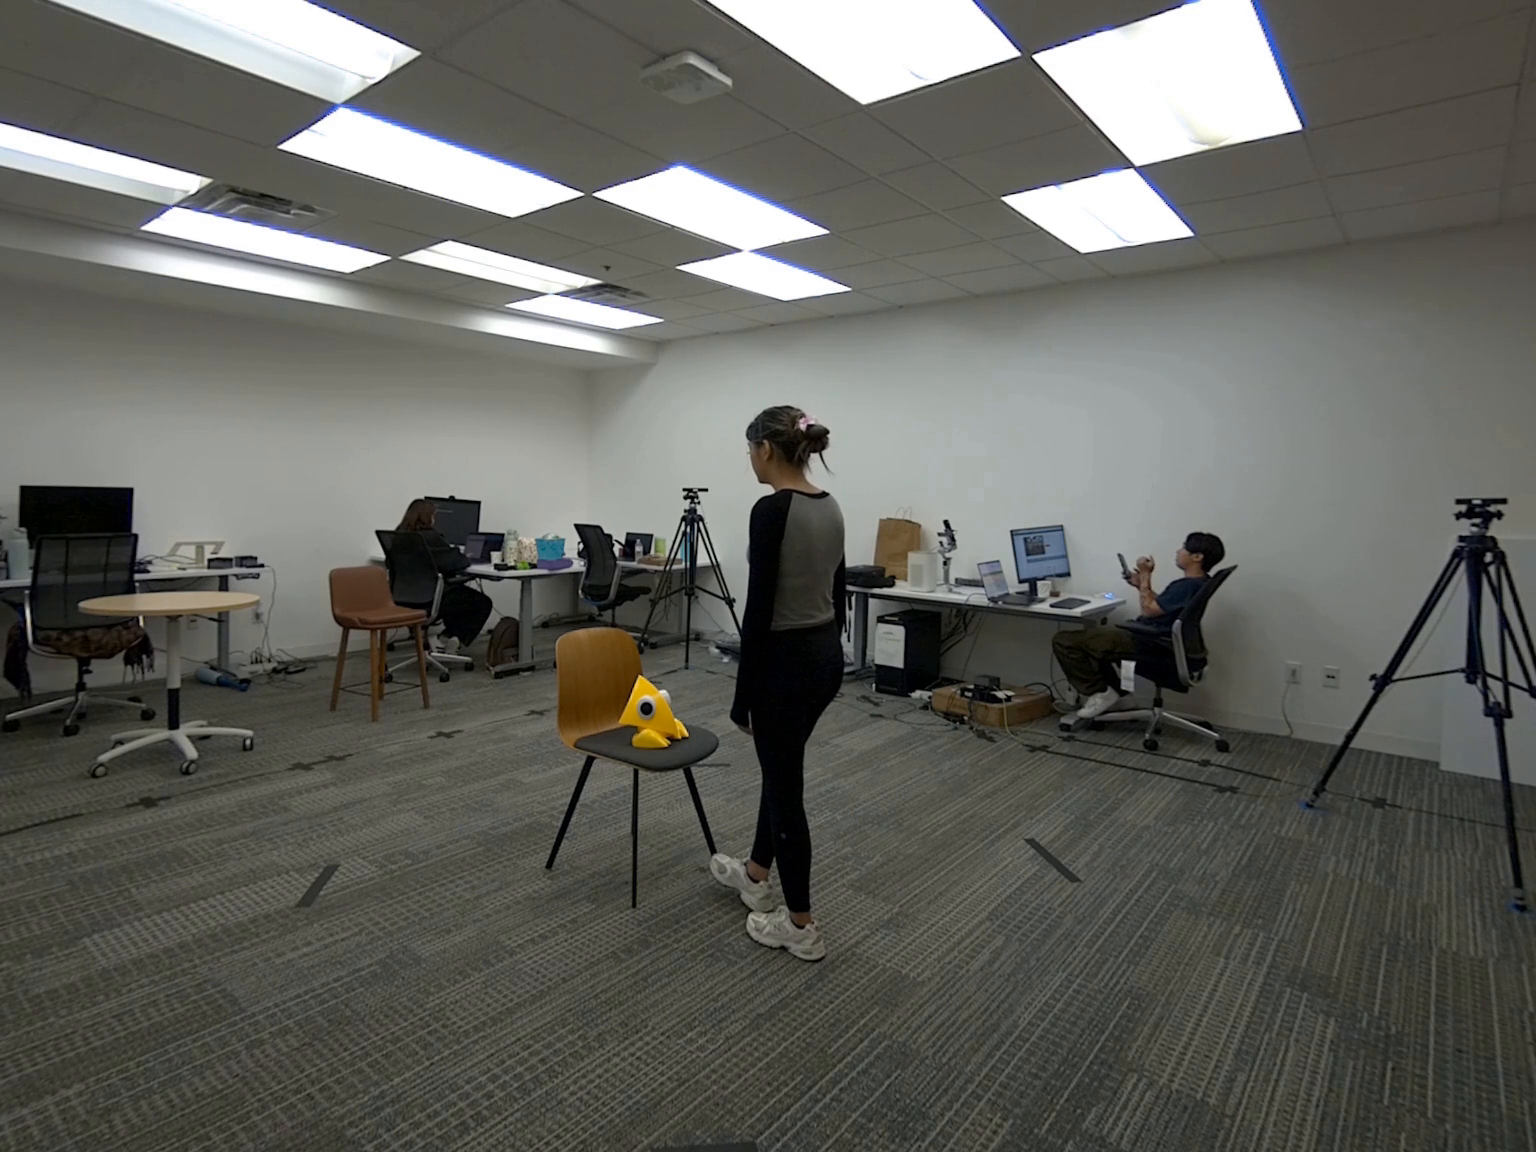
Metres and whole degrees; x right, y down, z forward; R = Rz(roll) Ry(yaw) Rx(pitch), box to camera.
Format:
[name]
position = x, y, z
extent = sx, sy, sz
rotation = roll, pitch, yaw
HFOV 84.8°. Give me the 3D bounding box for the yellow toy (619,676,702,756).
[yellow toy]
position = -0.417, 0.475, 3.061
extent = 0.198, 0.230, 0.199
rotation = -2, 3, 32
